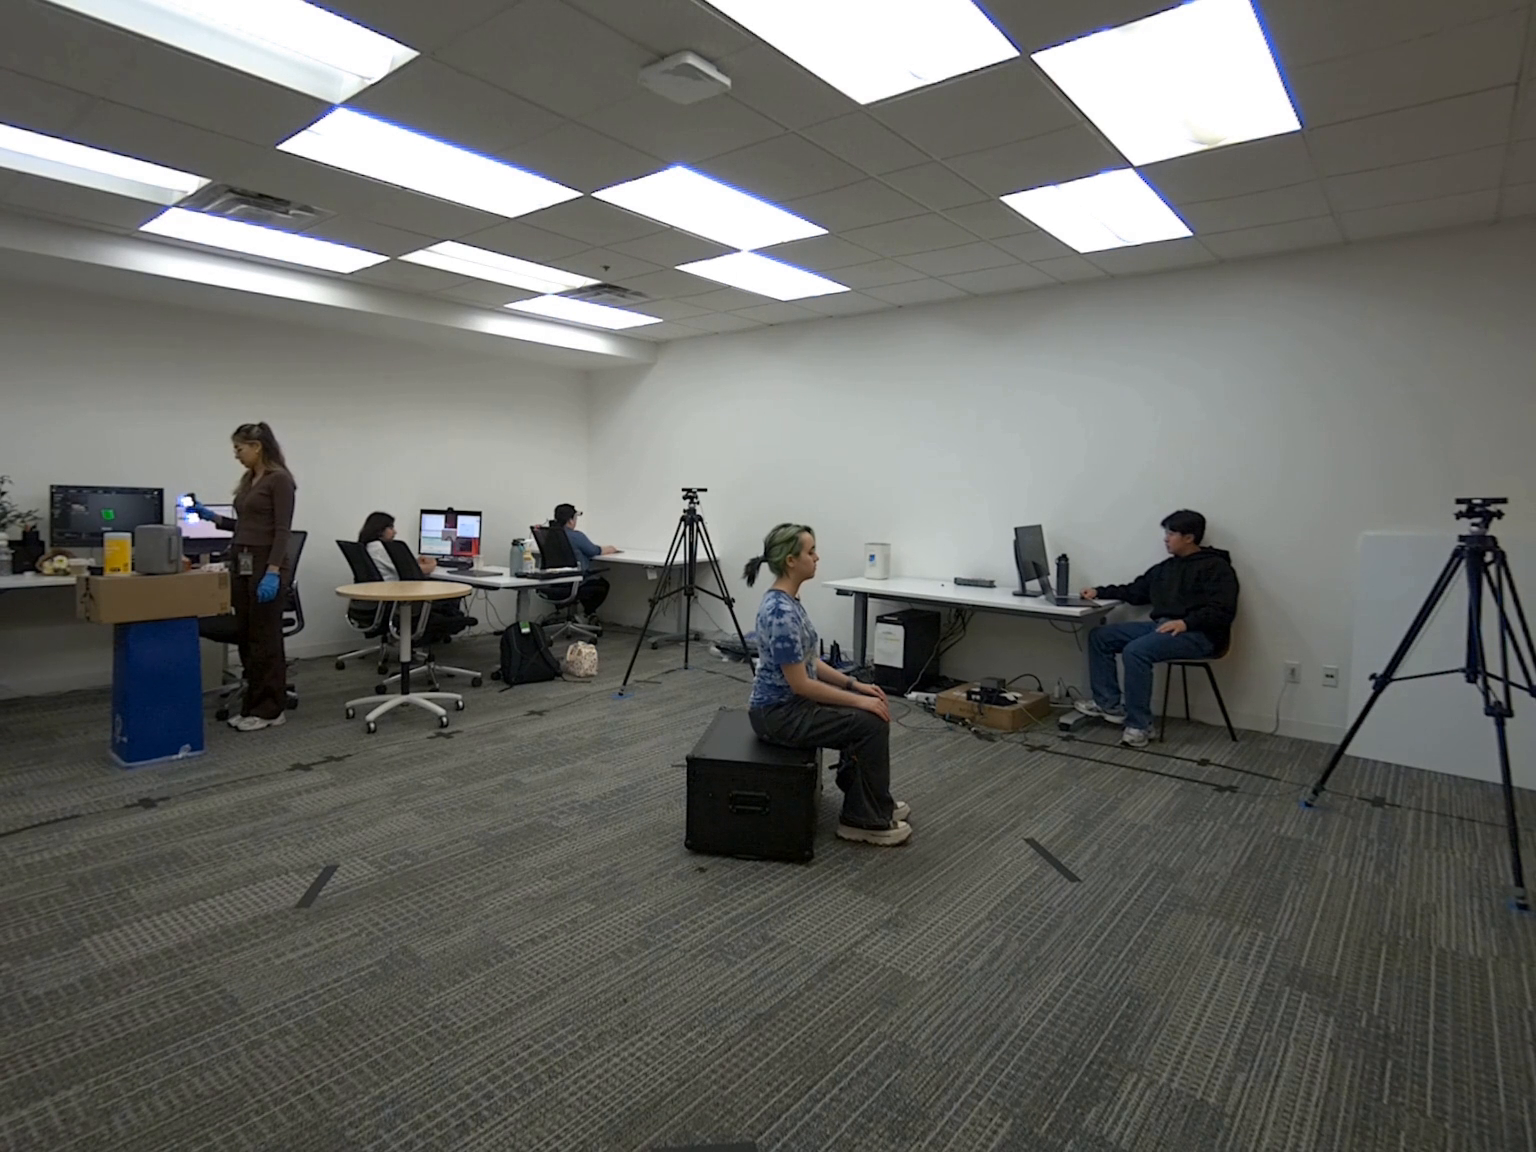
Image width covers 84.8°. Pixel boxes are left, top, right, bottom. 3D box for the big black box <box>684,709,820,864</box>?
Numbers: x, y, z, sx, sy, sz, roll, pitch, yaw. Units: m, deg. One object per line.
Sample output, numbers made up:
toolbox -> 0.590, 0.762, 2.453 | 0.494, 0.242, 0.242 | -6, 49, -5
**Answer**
big black box -> -0.036, 0.835, 3.587 | 0.526, 0.395, 0.857 | 1, 5, 7
